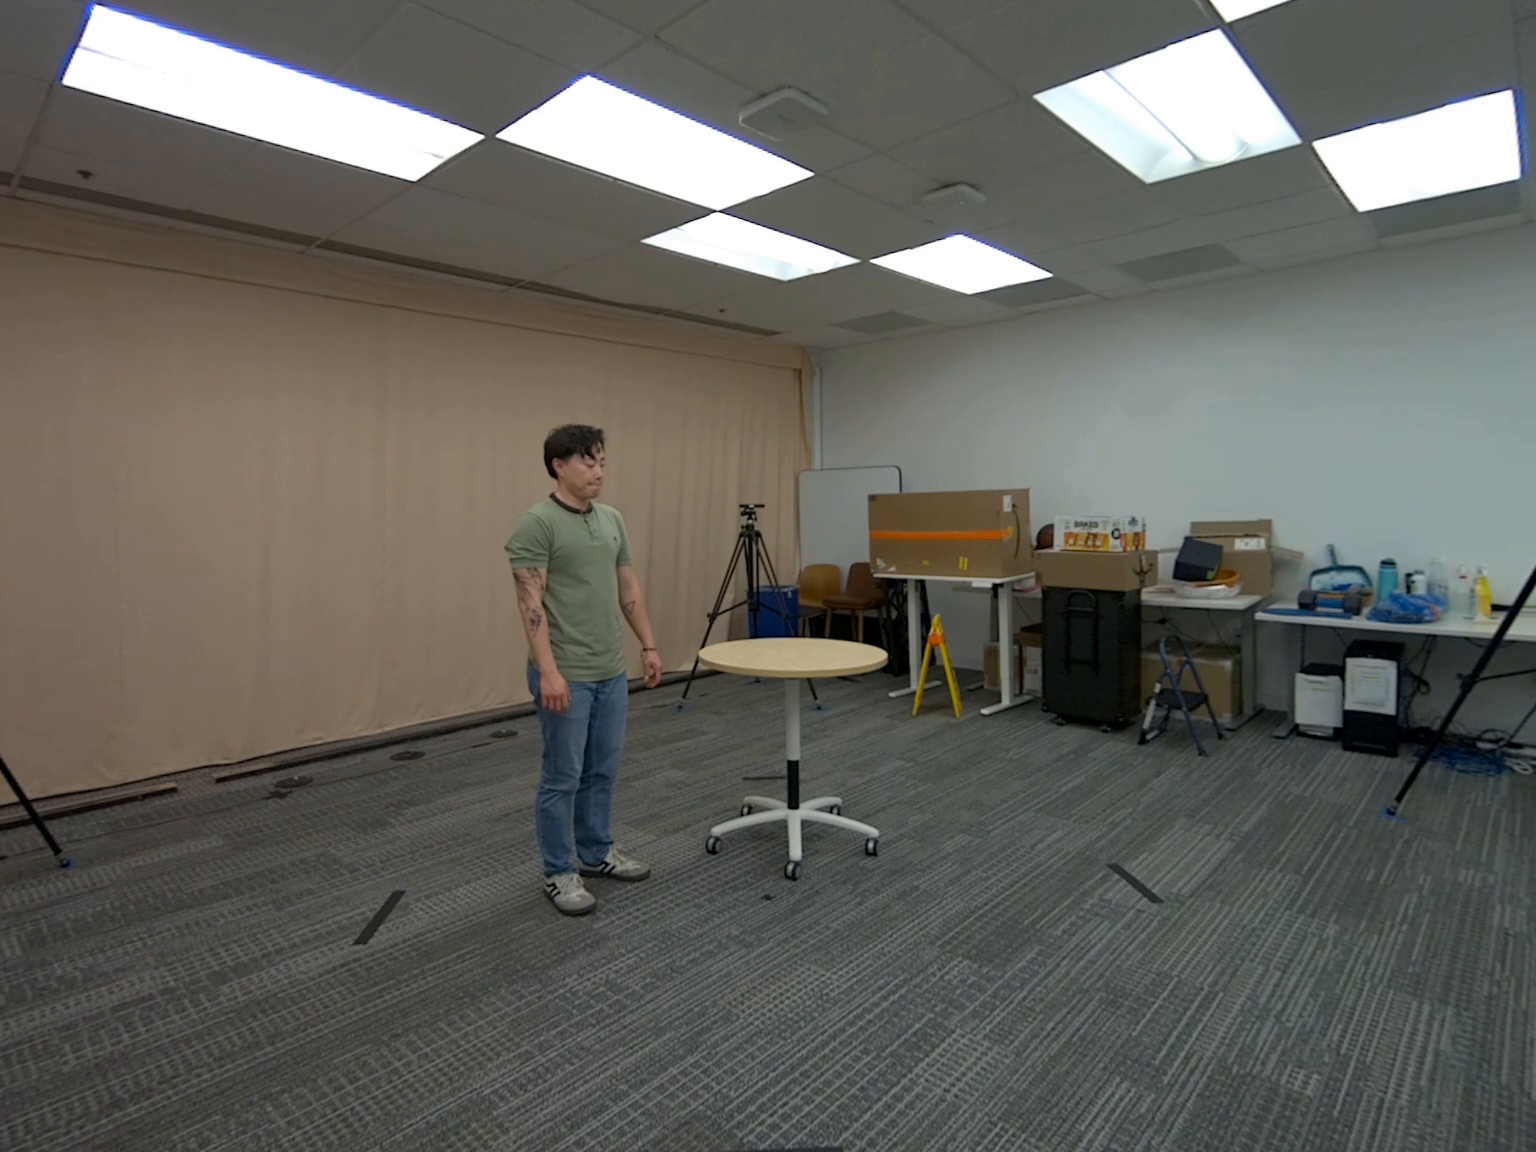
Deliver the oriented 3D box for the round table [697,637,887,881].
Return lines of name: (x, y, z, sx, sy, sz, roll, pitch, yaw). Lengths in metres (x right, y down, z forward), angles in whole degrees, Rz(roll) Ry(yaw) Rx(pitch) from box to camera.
round table: (0.108, 0.707, 3.455, 0.763, 0.792, 0.766, 0, 3, -2)
